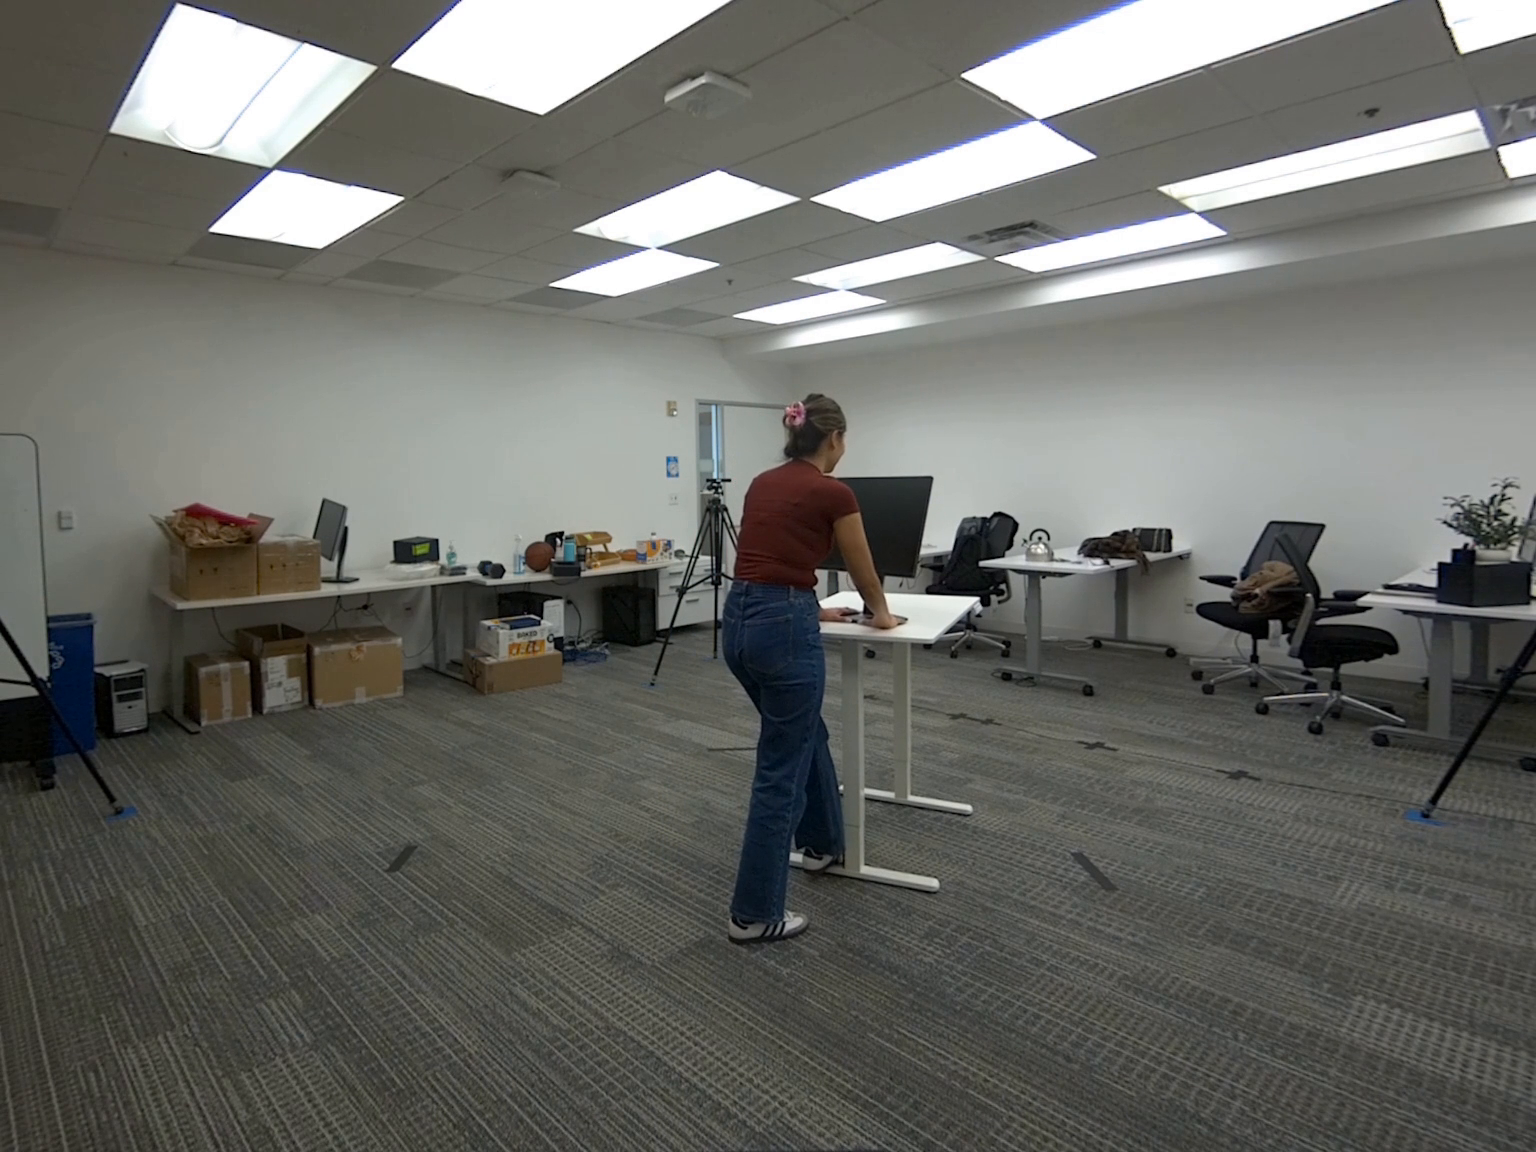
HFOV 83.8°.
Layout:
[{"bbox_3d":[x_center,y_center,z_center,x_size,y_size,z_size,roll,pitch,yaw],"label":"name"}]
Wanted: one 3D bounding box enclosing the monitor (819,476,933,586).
[{"bbox_3d":[0.364,-0.092,3.076,0.182,0.521,0.556,0,3,-43],"label":"monitor"}]
